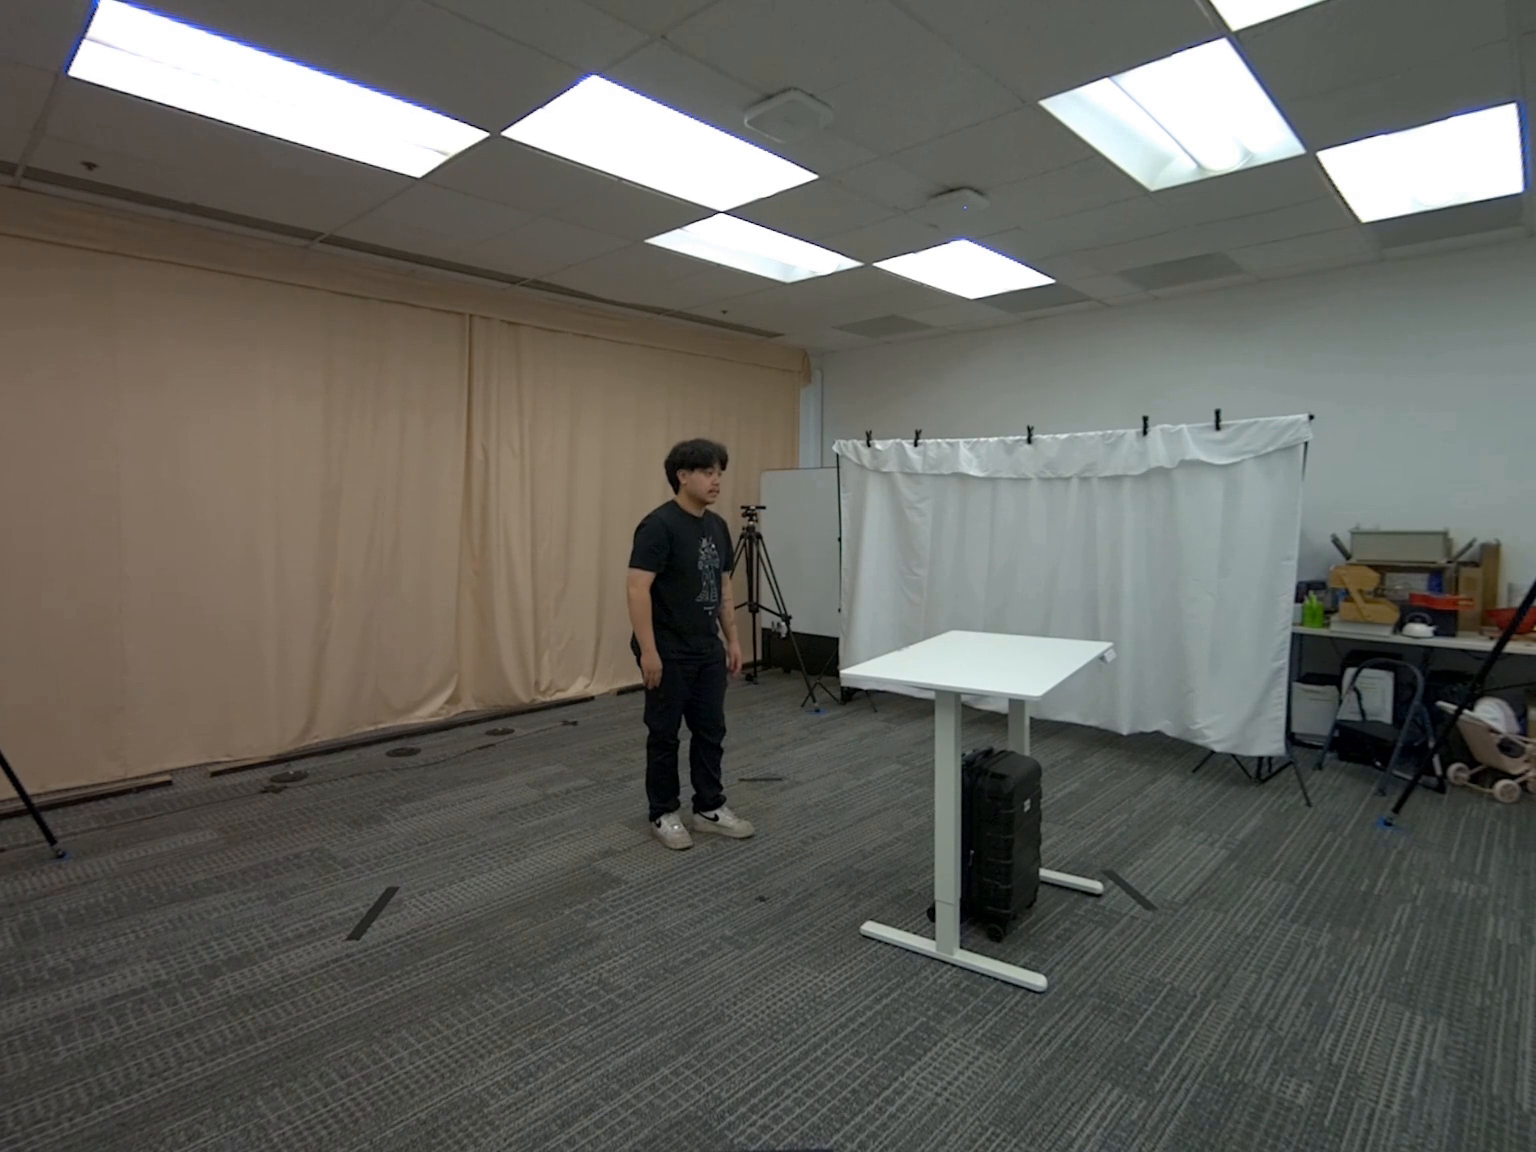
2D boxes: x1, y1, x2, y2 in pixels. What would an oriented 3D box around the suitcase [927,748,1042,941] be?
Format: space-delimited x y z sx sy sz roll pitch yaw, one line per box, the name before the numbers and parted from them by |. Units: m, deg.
suitcase | 0.760 0.887 2.847 0.256 0.547 0.365 6 7 35
